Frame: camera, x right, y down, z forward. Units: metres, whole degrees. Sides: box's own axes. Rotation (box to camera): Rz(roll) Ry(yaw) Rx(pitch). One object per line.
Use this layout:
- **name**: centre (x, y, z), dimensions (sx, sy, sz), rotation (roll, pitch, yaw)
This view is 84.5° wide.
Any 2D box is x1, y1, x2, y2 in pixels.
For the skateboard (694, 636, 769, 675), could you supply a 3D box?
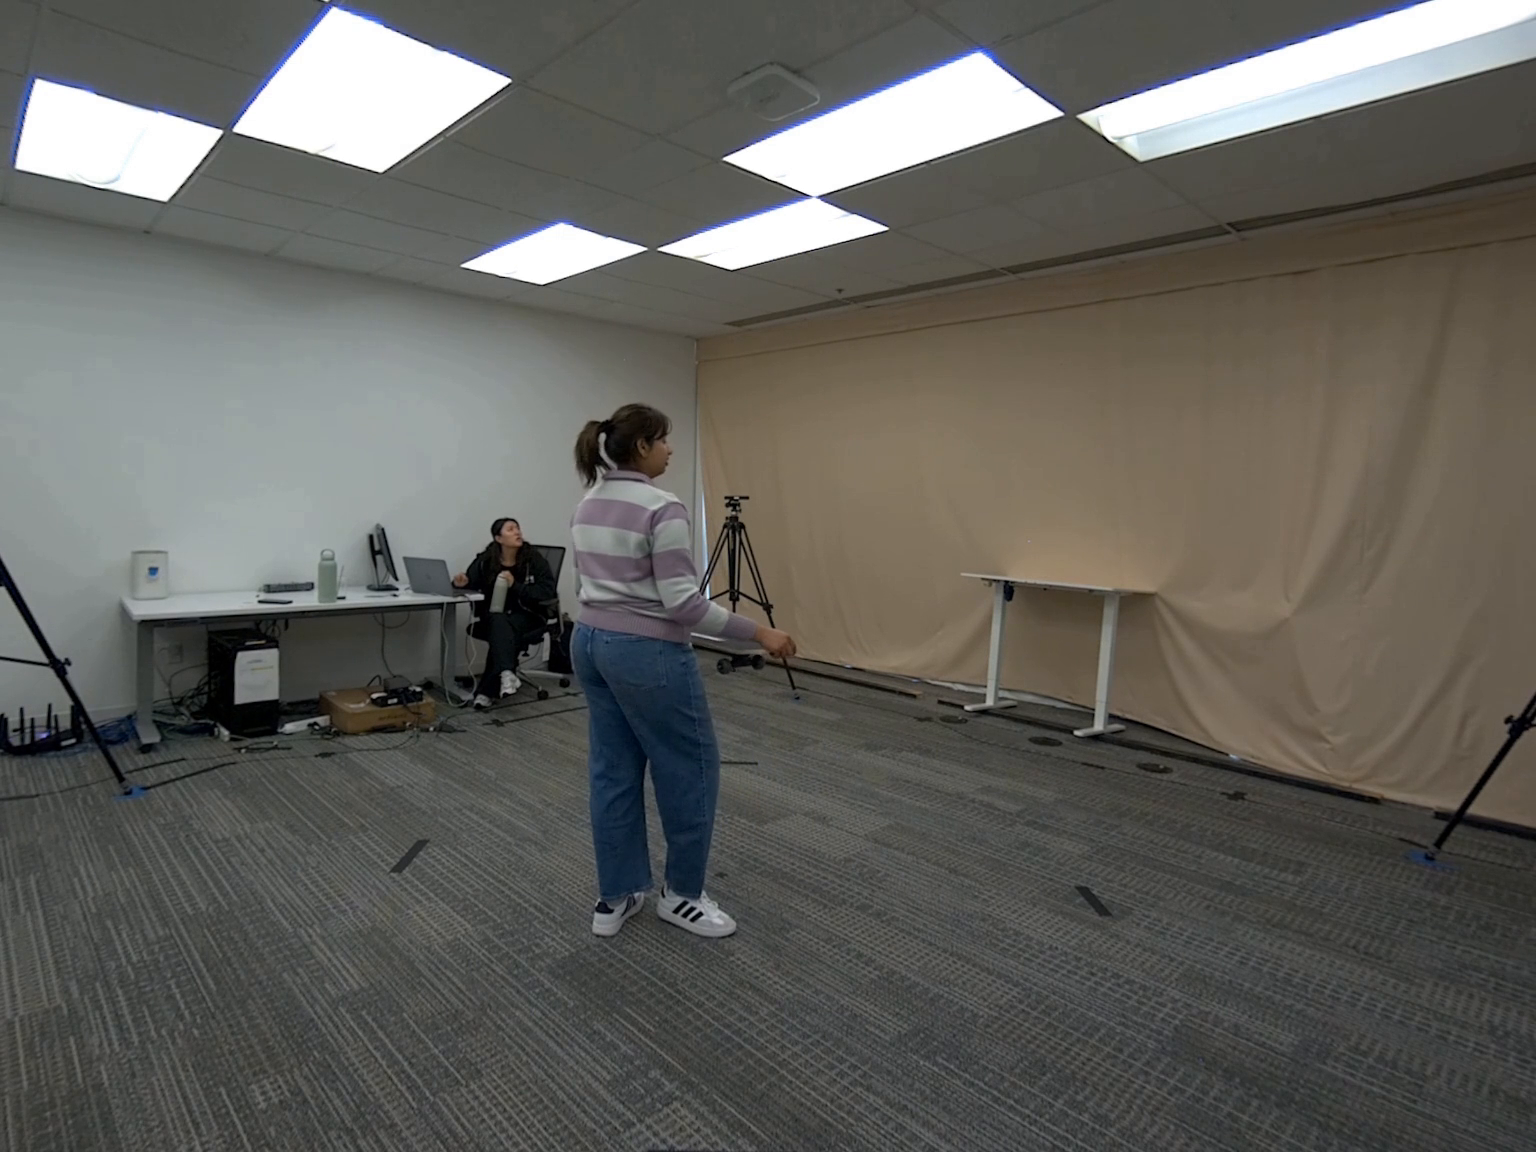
- **skateboard**: centre (-0.253, 0.245, 2.883), dimensions (0.189, 0.110, 0.806), rotation (1, 5, -39)
